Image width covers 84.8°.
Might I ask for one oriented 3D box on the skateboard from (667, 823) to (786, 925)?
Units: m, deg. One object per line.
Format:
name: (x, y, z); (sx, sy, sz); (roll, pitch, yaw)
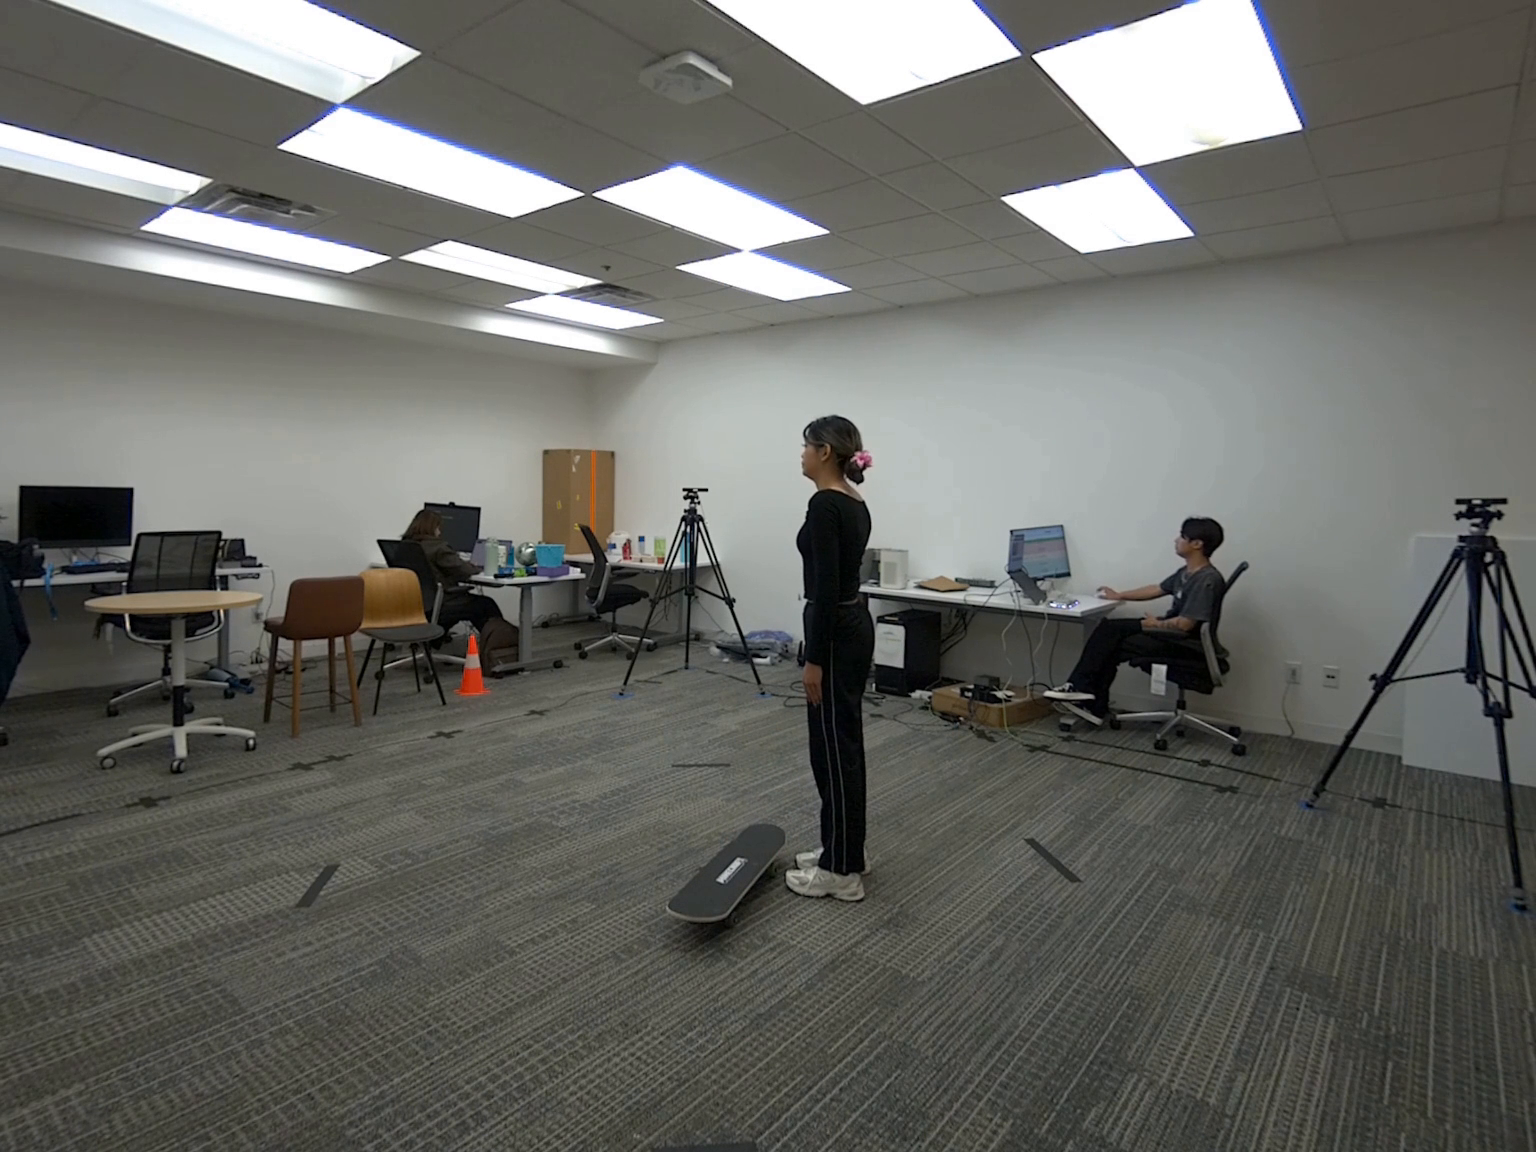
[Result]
skateboard: (-0.131, 1.032, 2.911); (0.198, 0.110, 0.771); (3, 6, 19)
